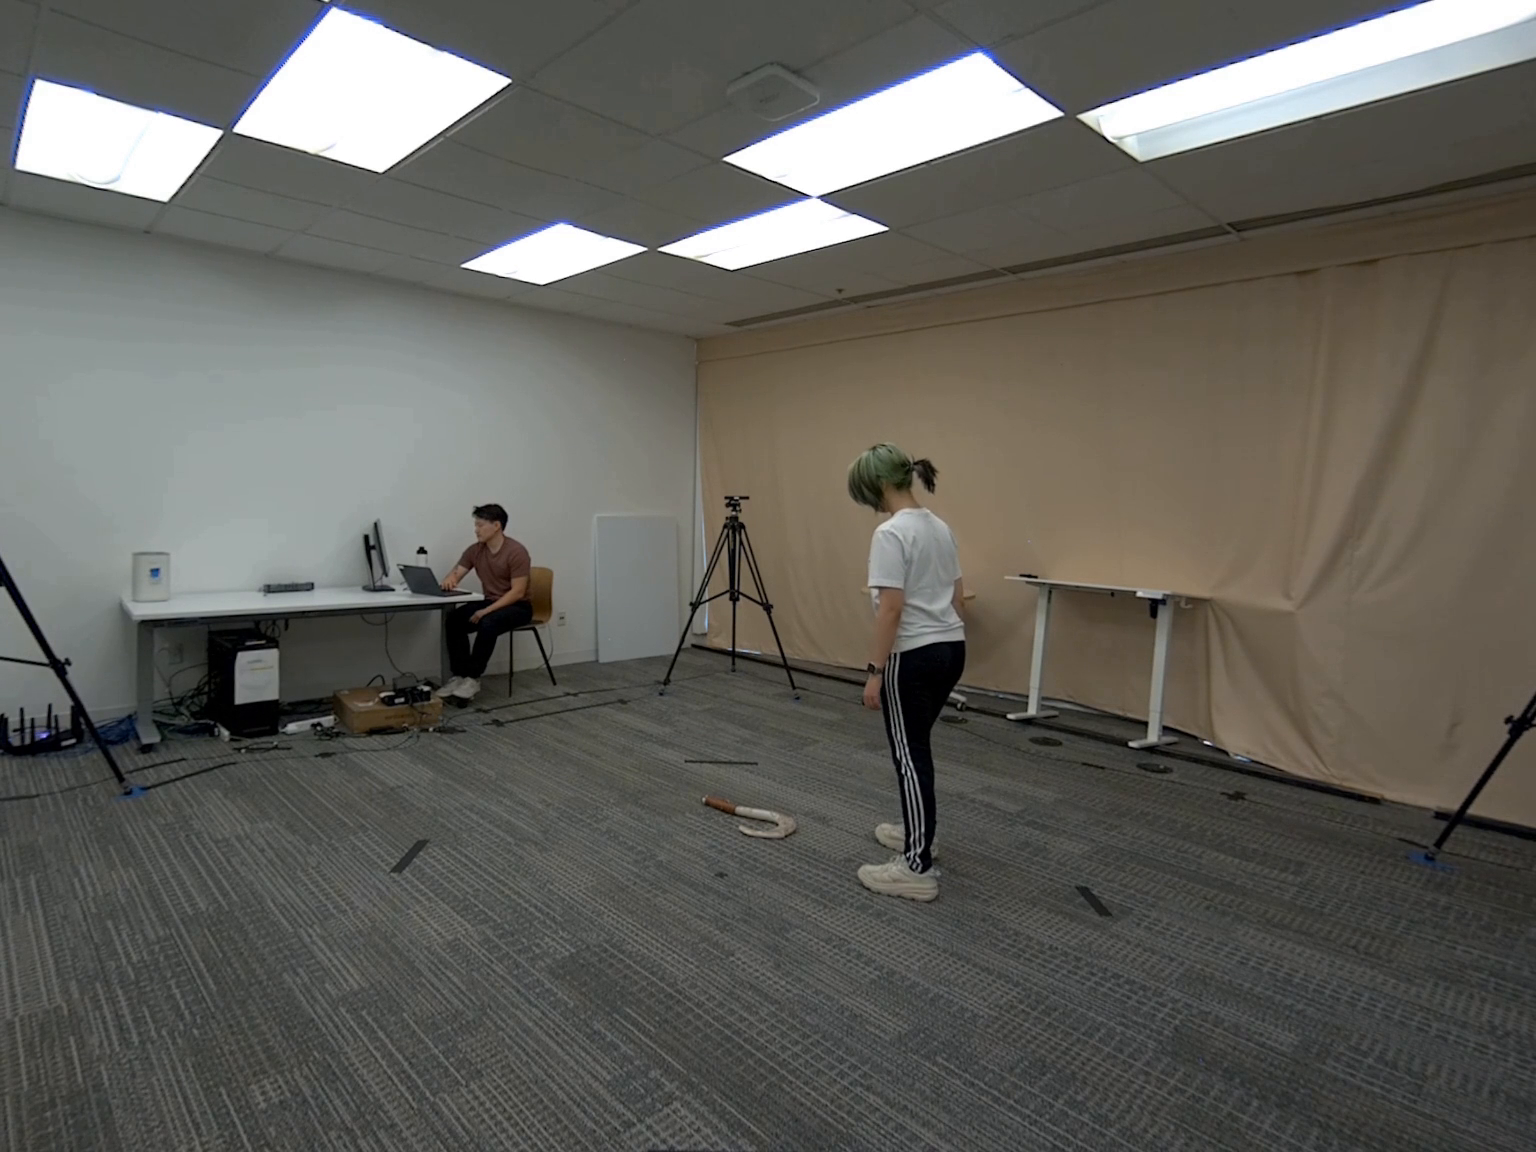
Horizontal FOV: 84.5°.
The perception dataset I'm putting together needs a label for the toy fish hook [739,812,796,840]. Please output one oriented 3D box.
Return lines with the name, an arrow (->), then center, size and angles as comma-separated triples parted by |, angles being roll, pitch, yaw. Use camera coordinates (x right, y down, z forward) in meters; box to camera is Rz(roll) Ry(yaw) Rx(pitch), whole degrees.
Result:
toy fish hook -> -0.123, 1.036, 3.629 | 0.519, 0.048, 0.219 | 5, 5, 36
